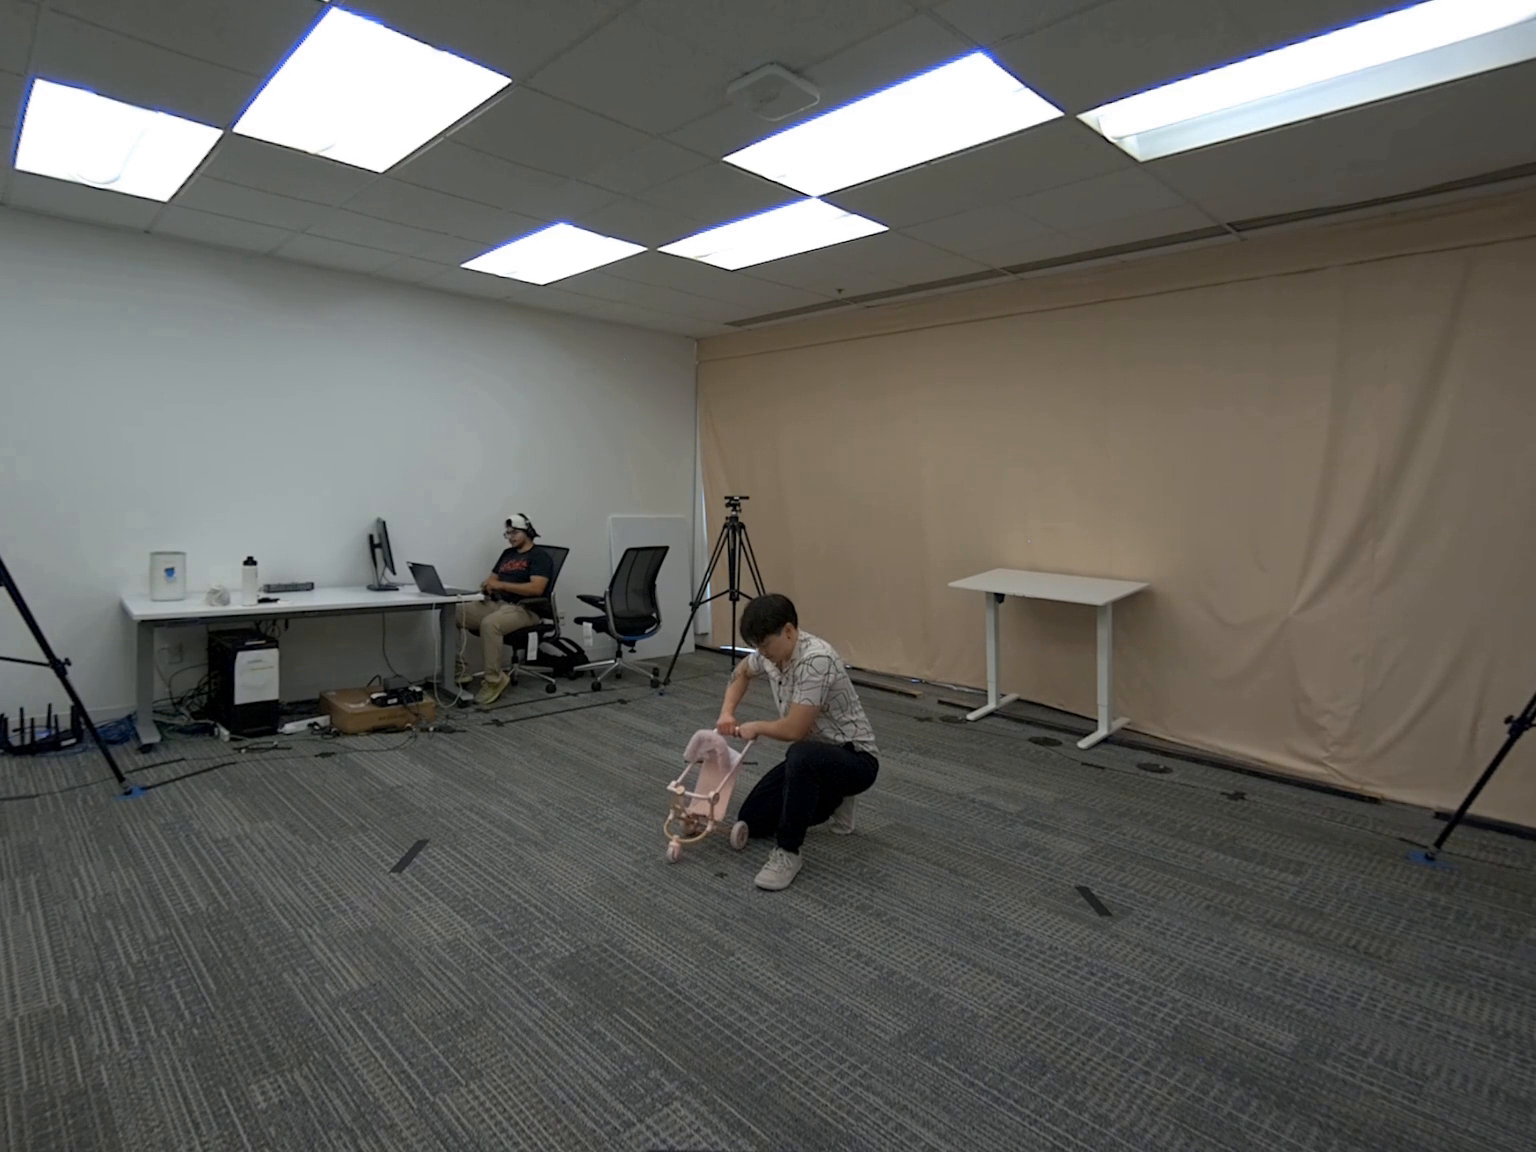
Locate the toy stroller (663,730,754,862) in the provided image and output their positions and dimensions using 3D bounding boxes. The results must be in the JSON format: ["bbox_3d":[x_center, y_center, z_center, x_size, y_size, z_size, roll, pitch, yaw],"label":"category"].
[{"bbox_3d":[-0.257,0.848,3.340,0.288,0.538,0.331,4,-12,38],"label":"toy stroller"}]
